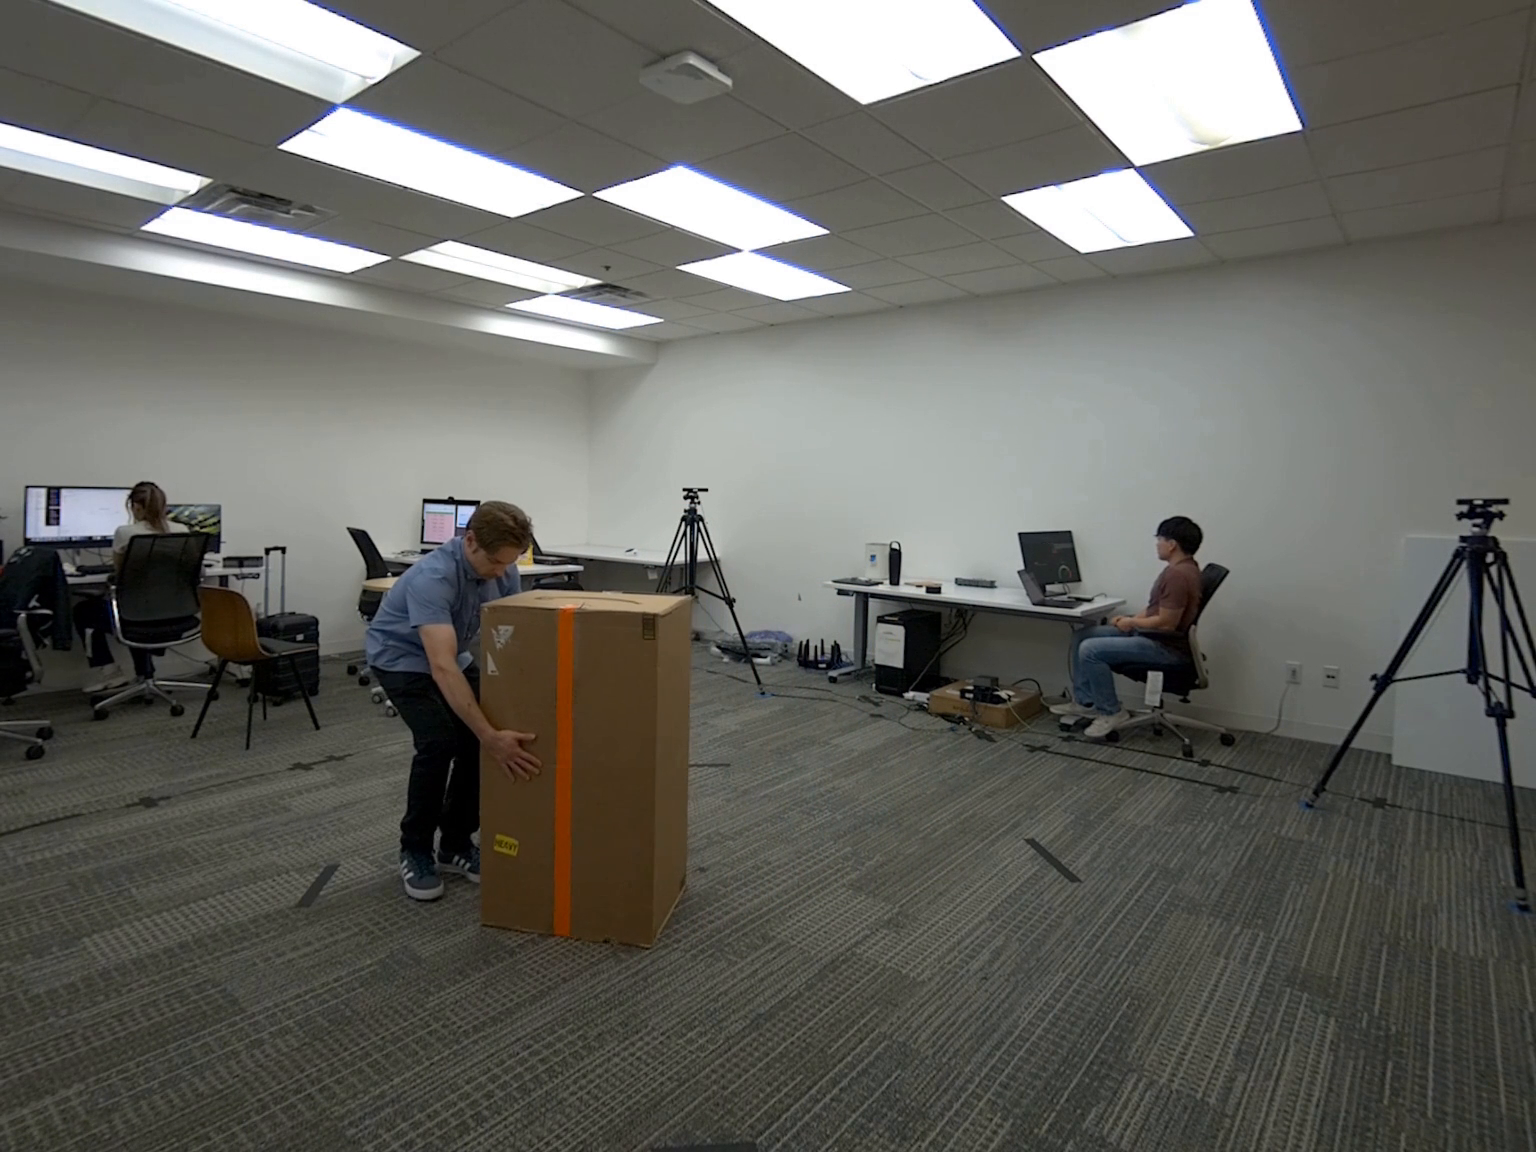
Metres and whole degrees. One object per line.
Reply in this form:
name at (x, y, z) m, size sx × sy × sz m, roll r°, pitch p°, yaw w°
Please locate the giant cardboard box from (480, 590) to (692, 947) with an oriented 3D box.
giant cardboard box at (-0.593, 0.585, 2.789) m, size 0.586 × 1.022 × 0.422 m, roll 2°, pitch 4°, yaw 12°
